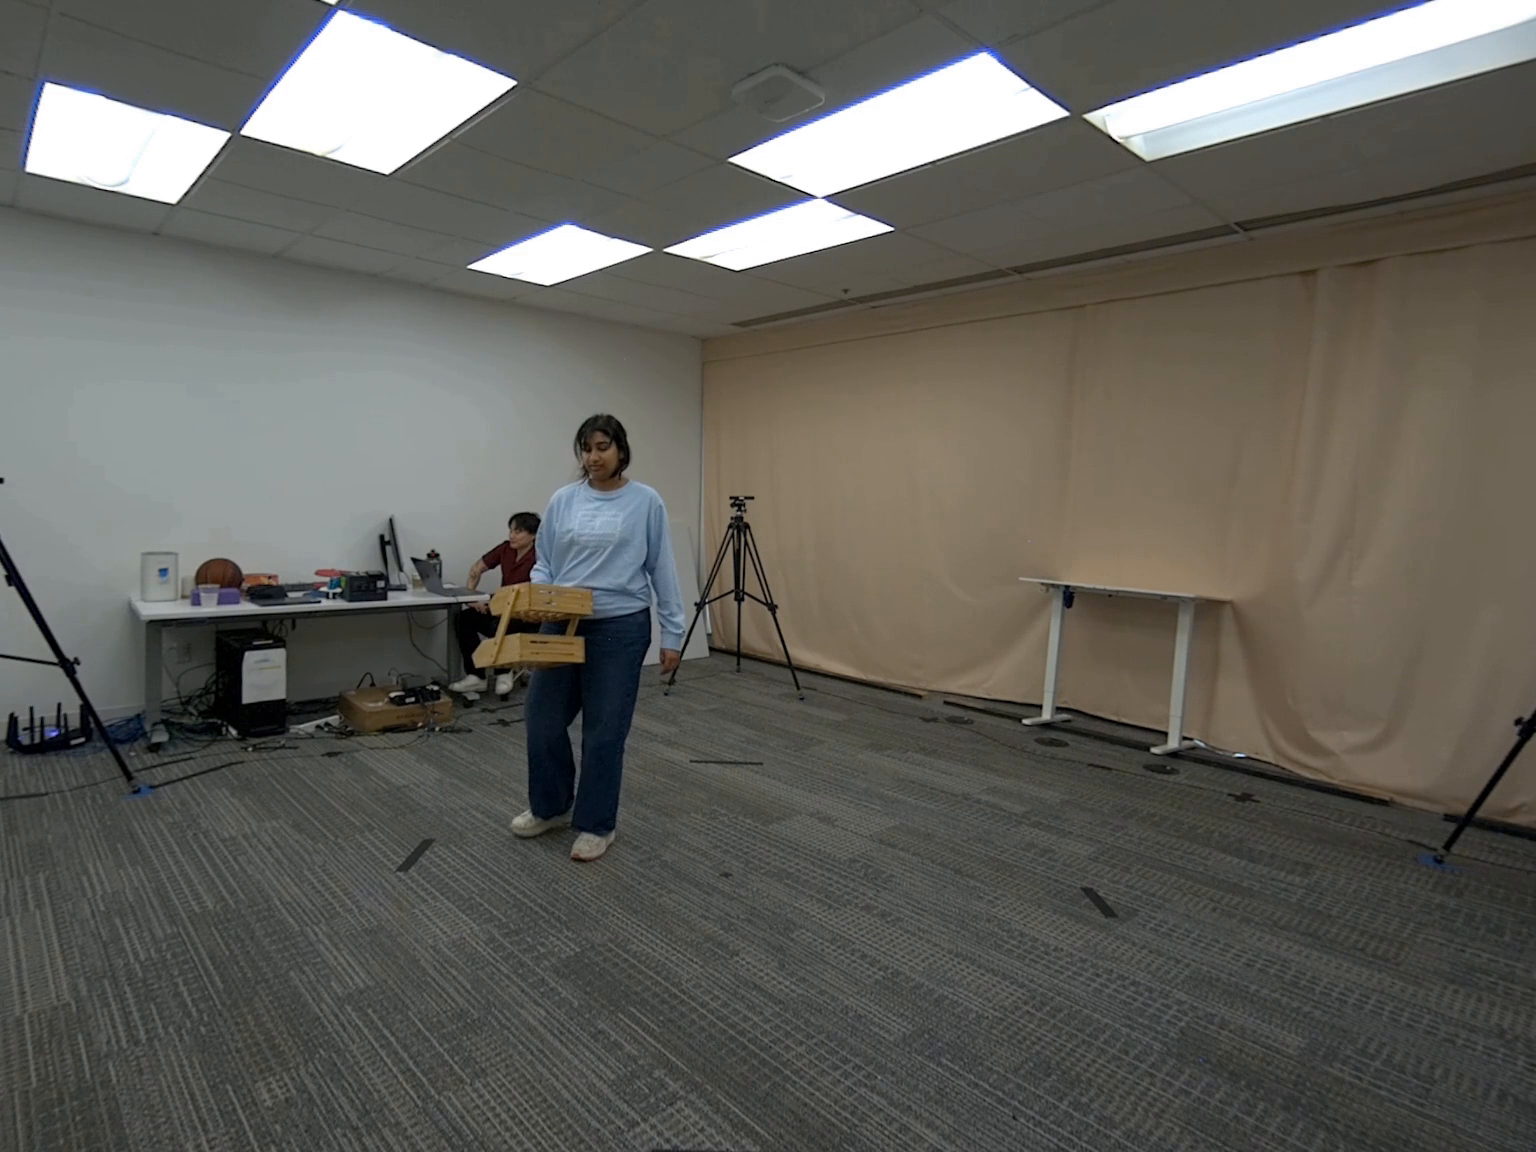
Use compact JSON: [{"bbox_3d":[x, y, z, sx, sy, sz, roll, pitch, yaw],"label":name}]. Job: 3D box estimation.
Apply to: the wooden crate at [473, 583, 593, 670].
[{"bbox_3d":[-0.851,0.182,2.996,0.307,0.276,0.316,-11,-13,32],"label":"wooden crate"}]
